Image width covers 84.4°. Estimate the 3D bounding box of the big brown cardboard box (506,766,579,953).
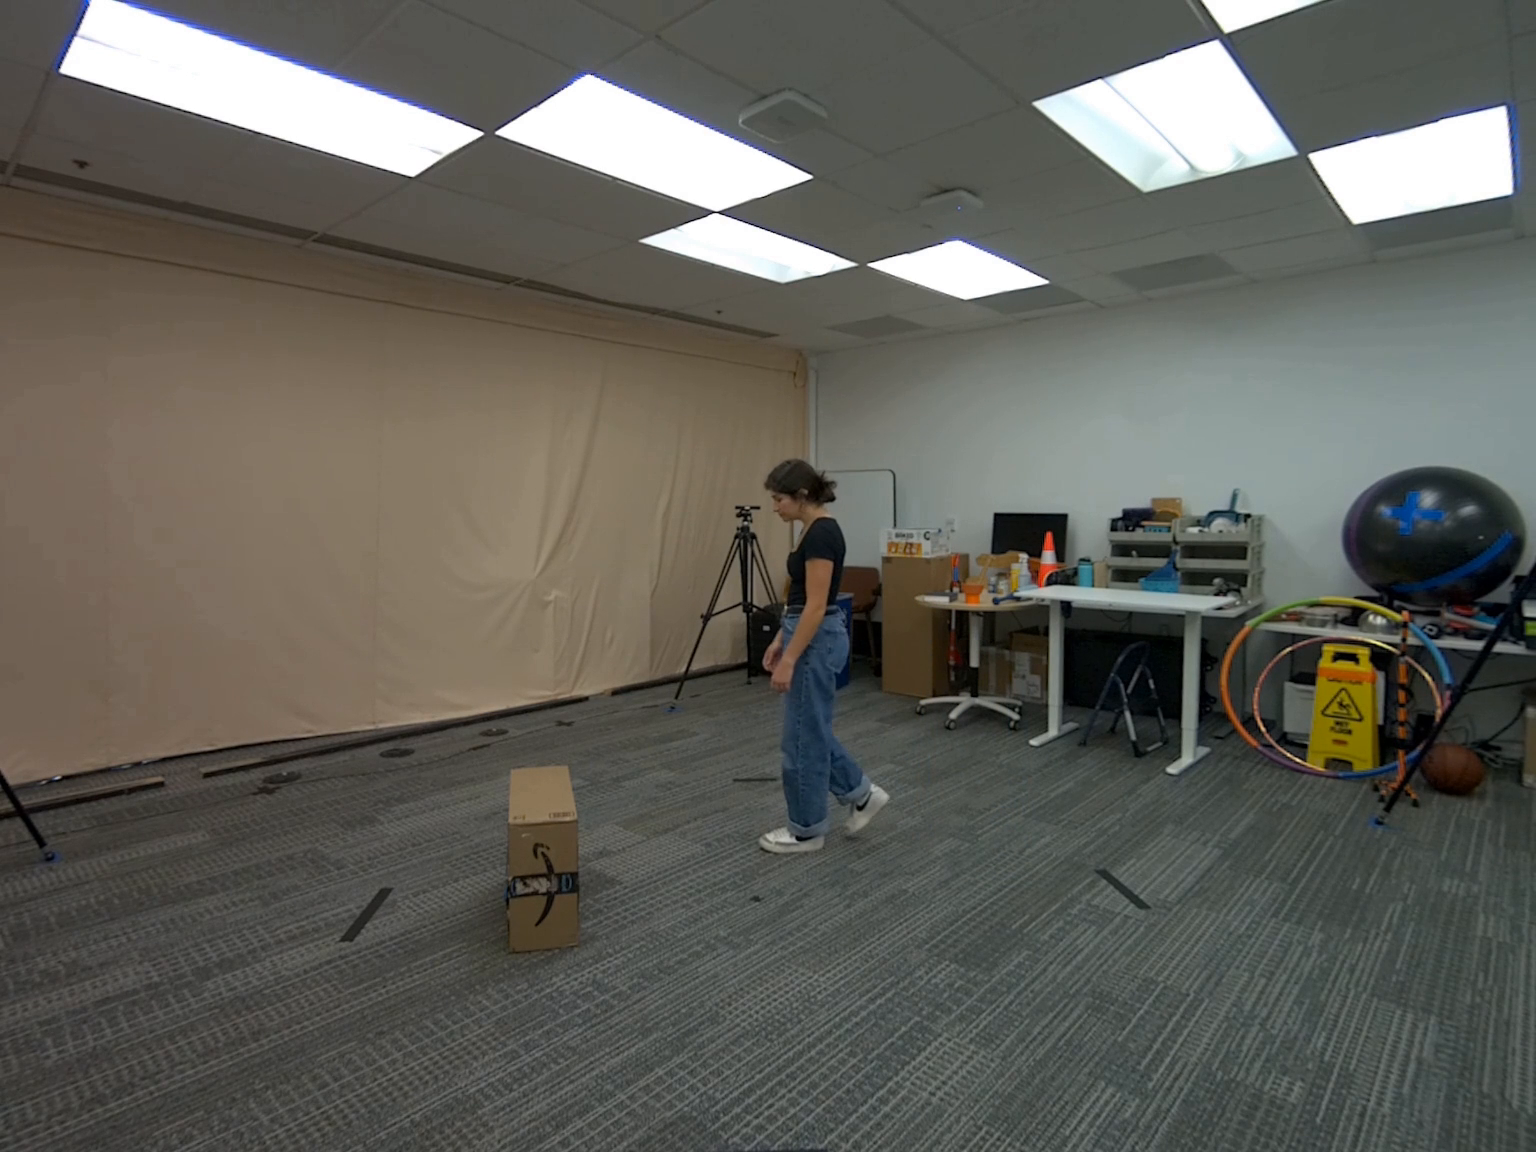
[{"bbox_3d":[-0.783,0.948,2.900,0.230,0.417,0.599,0,3,-15],"label":"big brown cardboard box"}]
